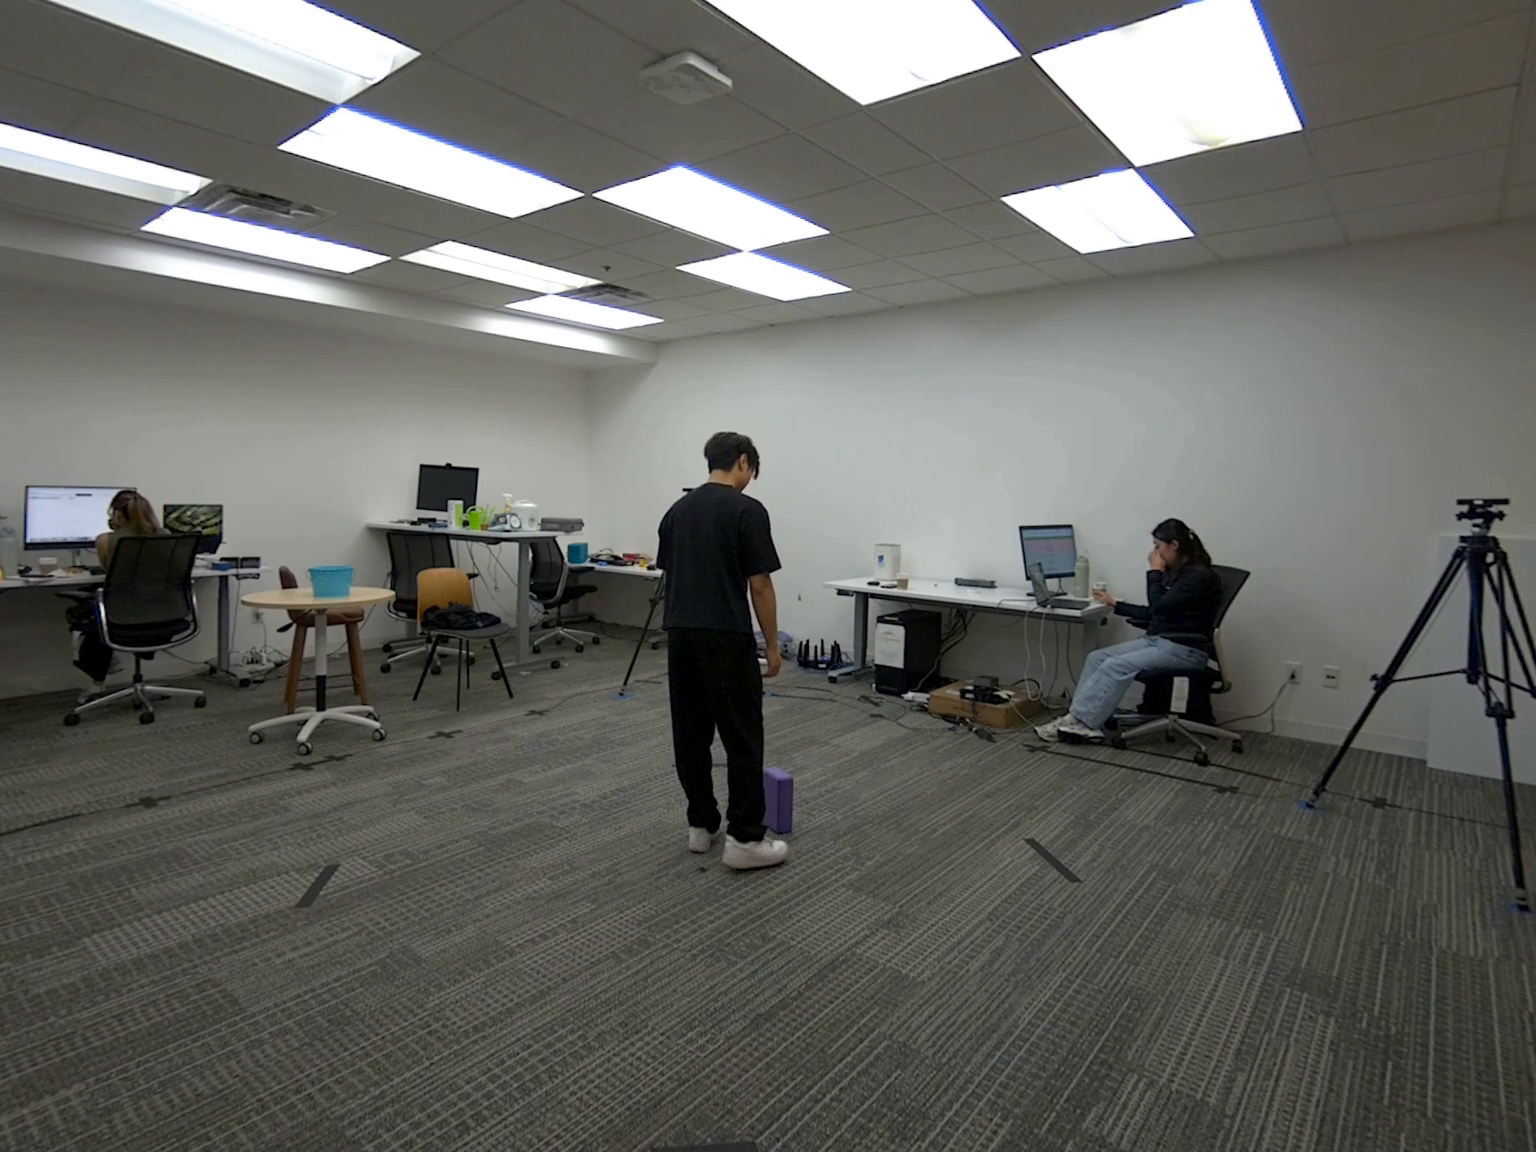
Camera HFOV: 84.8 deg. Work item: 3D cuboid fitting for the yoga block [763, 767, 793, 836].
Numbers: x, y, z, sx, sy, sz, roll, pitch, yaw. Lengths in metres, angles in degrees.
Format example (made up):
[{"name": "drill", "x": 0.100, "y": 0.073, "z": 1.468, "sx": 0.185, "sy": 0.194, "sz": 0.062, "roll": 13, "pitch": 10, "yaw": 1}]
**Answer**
[{"name": "yoga block", "x": 0.027, "y": 0.916, "z": 3.504, "sx": 0.074, "sy": 0.229, "sz": 0.153, "roll": -1, "pitch": 3, "yaw": -27}]
